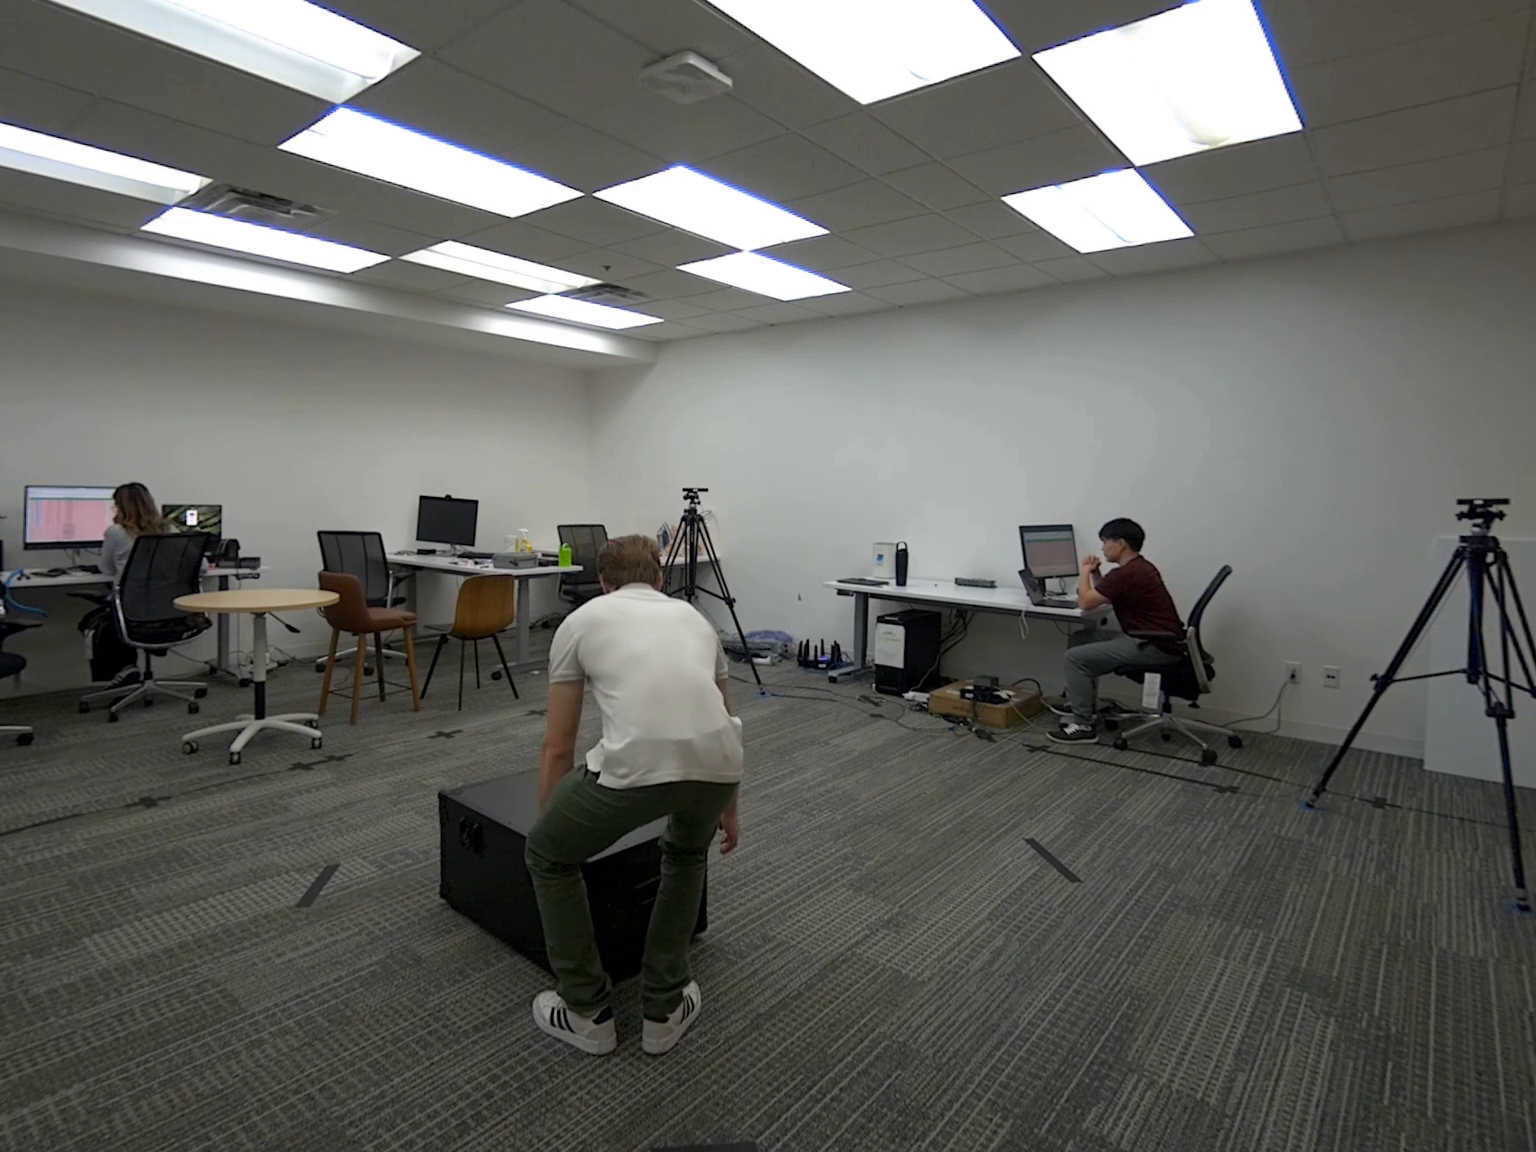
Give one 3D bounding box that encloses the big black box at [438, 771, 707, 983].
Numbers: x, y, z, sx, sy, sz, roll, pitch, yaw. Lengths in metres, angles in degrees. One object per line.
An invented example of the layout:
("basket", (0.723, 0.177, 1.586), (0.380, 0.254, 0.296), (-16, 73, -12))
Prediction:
("big black box", (-0.670, 0.908, 2.742), (0.891, 0.394, 0.506), (7, 8, 41))
